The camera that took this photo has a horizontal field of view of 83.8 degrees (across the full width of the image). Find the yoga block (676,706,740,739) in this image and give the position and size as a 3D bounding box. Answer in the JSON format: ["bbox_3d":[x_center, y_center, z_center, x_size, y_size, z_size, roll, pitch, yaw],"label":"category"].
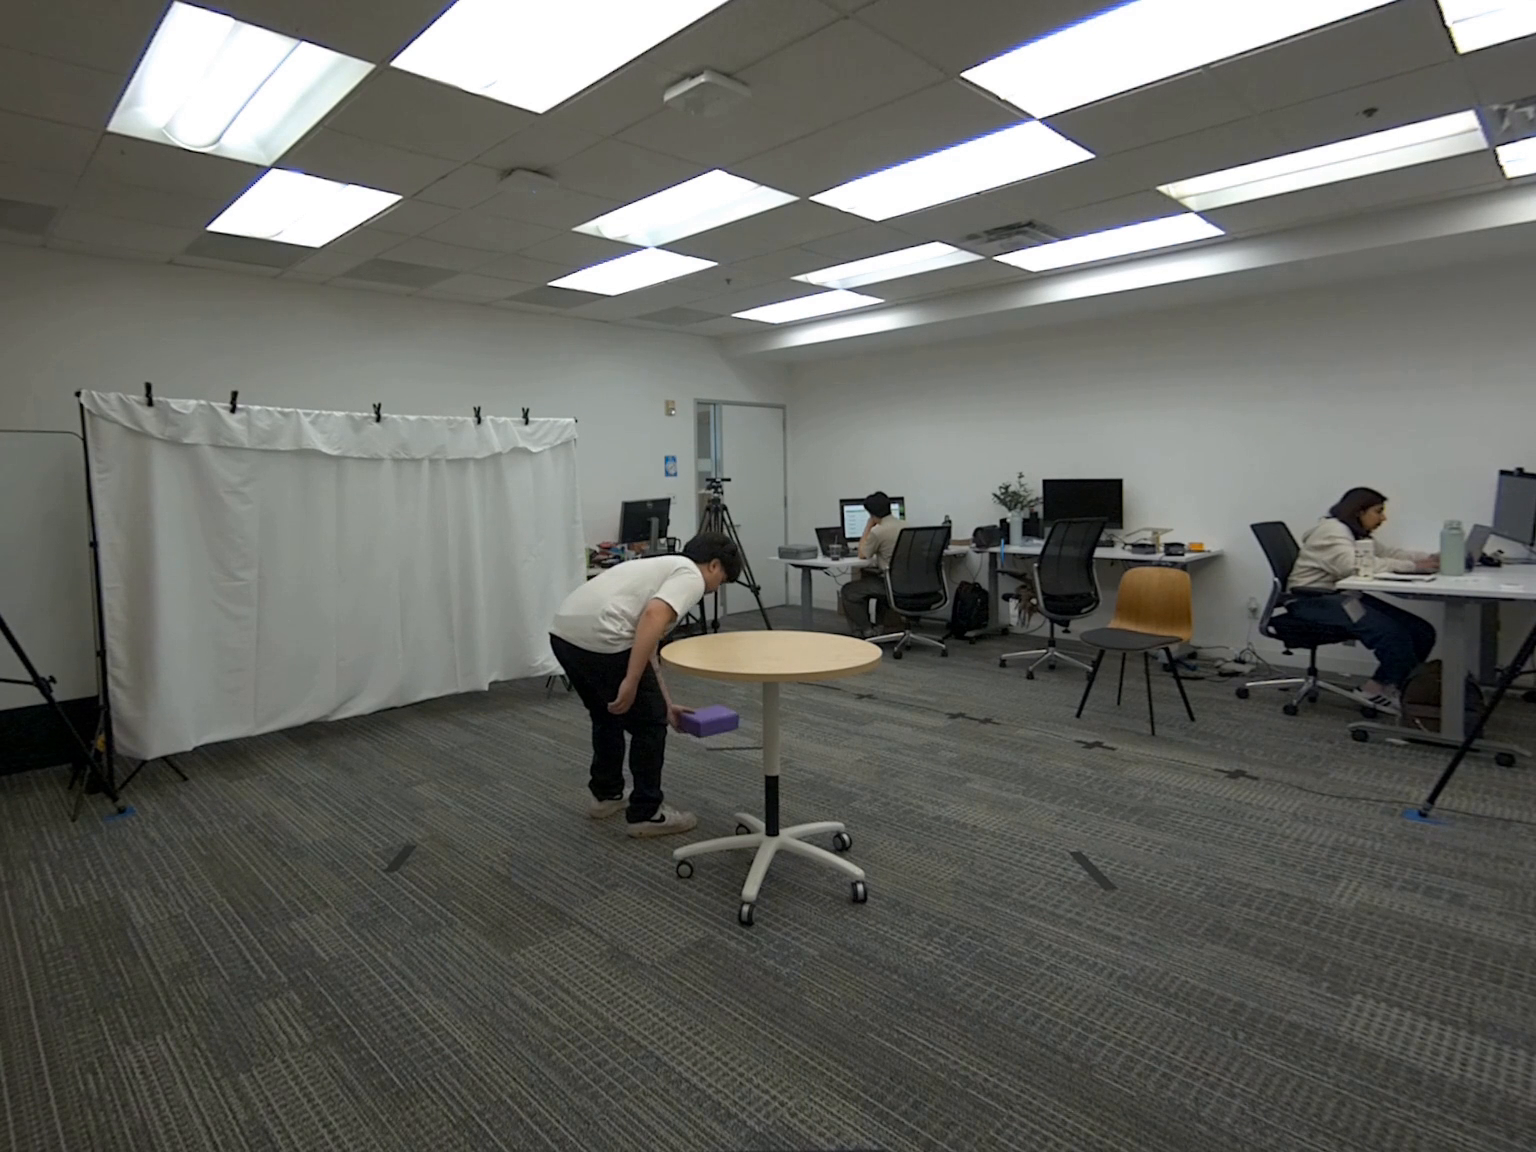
[{"bbox_3d":[-0.256,0.625,3.731,0.223,0.076,0.154,-4,10,-41],"label":"yoga block"}]
